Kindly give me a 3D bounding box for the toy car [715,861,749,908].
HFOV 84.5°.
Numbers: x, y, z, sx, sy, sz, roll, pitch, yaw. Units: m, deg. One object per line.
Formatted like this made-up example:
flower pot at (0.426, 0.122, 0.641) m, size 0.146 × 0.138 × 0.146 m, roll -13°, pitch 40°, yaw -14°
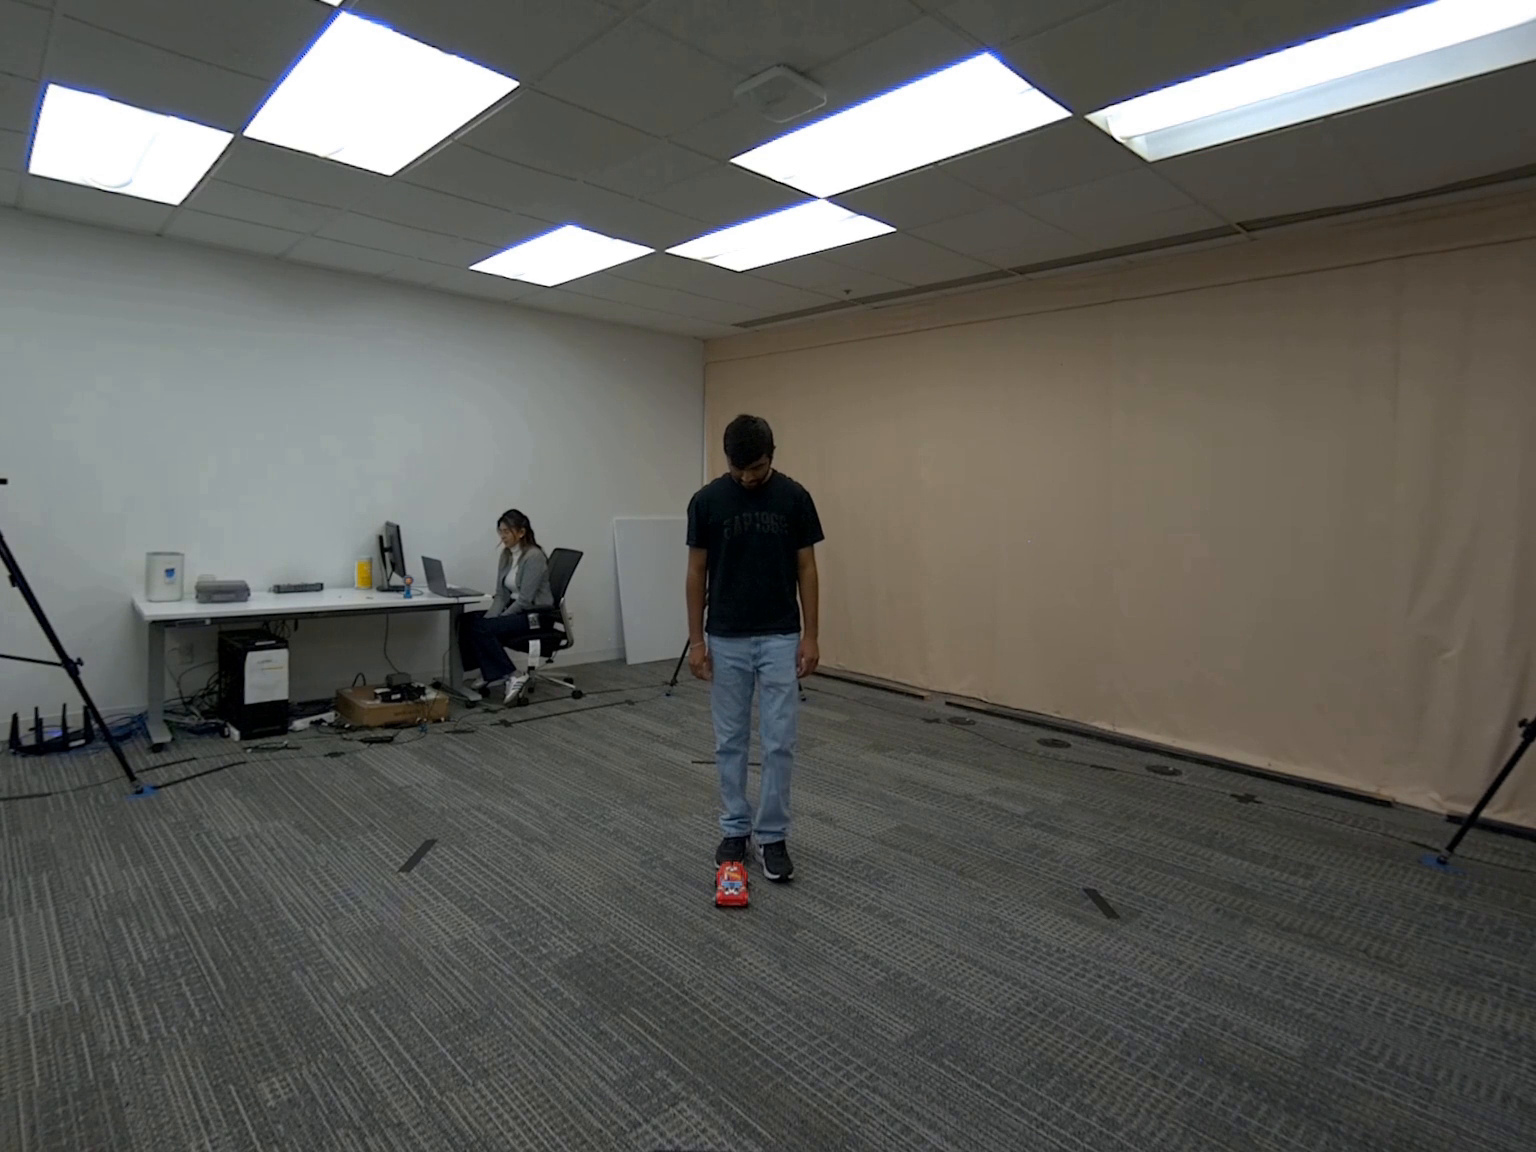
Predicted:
toy car at (-0.141, 1.091, 2.963) m, size 0.130 × 0.082 × 0.257 m, roll 0°, pitch 17°, yaw -2°
